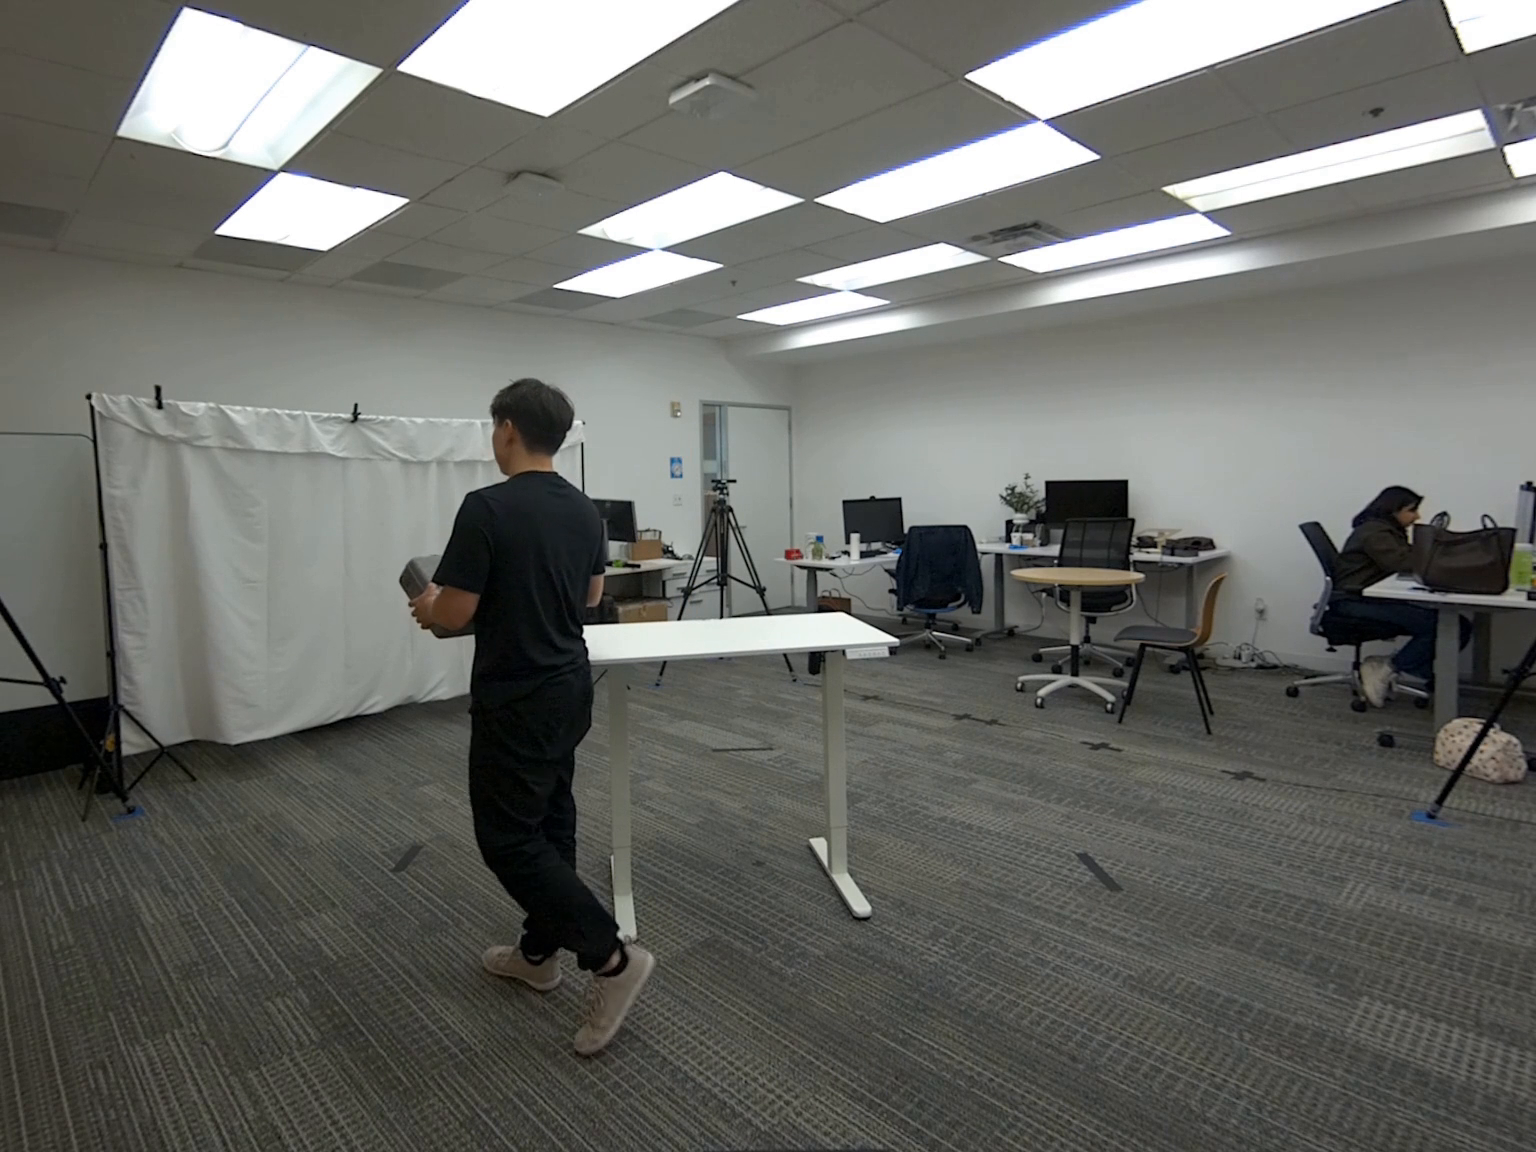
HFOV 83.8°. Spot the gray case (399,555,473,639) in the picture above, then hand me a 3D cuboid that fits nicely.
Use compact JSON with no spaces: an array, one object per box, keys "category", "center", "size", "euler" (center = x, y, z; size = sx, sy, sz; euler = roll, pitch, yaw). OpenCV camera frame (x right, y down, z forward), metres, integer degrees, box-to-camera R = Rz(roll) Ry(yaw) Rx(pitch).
[{"category":"gray case","center":[-0.896,0.055,2.443],"size":[0.268,0.104,0.250],"euler":[49,25,24]}]
